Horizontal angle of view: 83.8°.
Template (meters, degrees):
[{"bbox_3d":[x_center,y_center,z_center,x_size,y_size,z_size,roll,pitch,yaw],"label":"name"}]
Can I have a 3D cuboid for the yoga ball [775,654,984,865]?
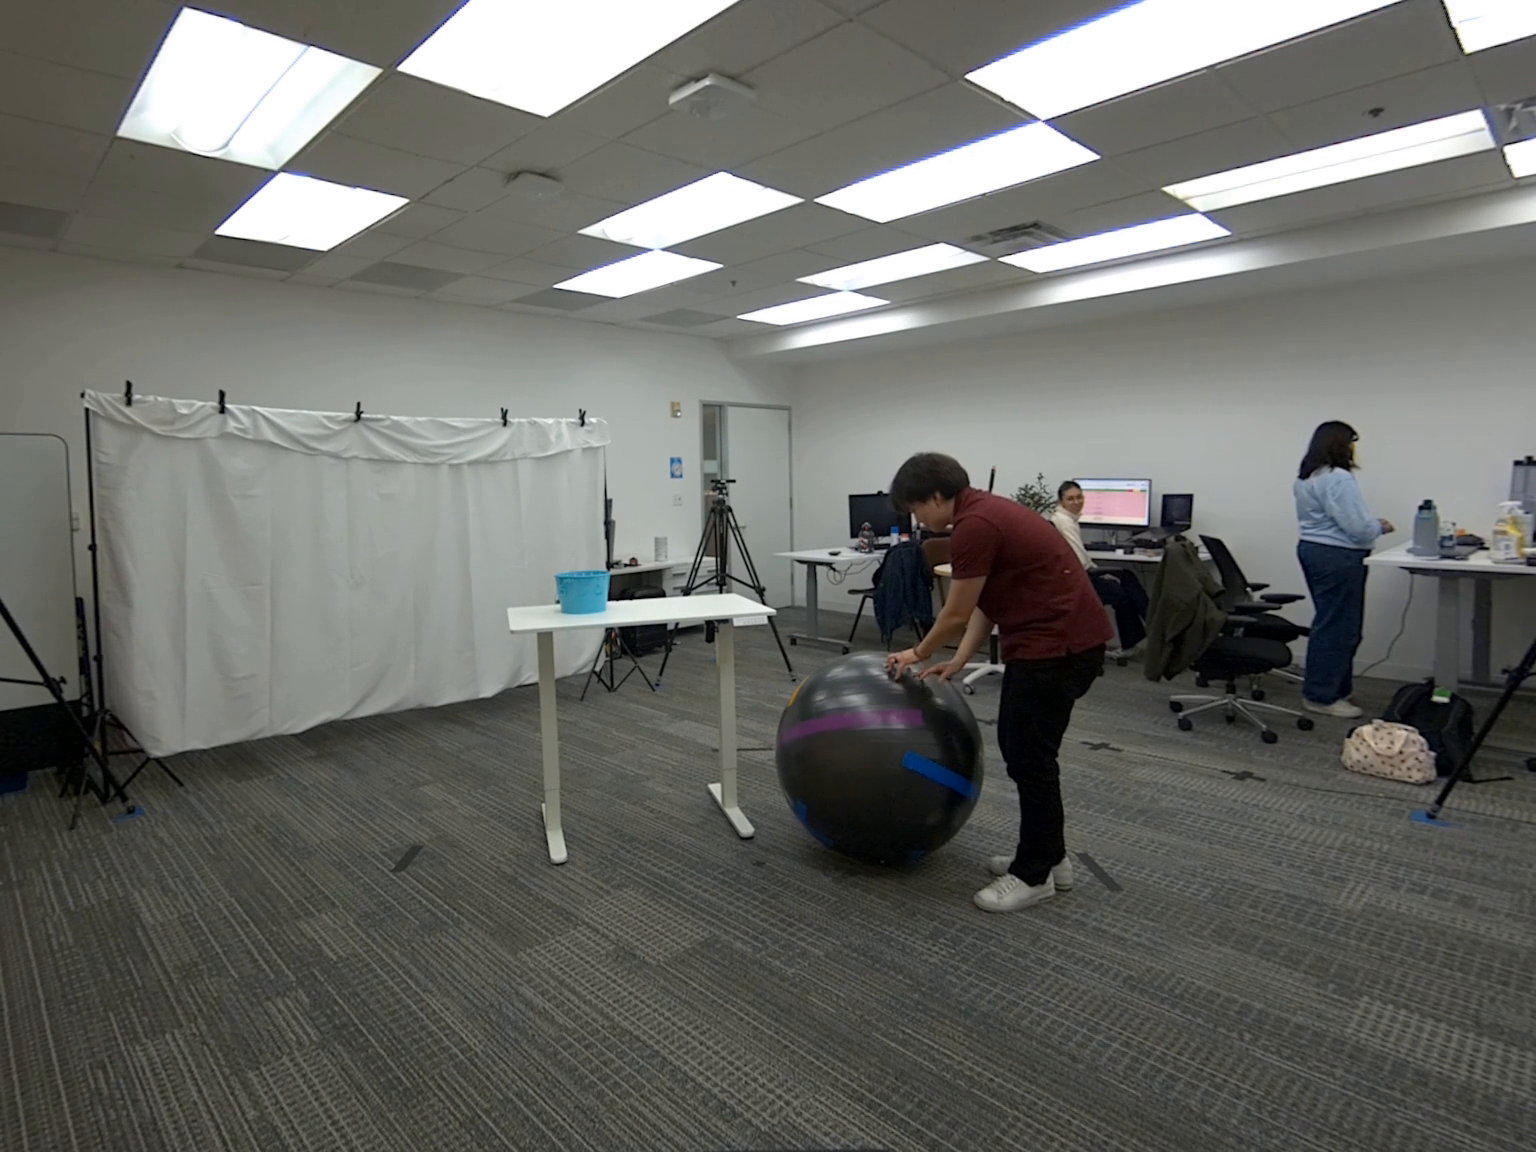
[{"bbox_3d":[0.412,0.667,3.174,0.757,0.755,0.762,-1,5,-2],"label":"yoga ball"}]
